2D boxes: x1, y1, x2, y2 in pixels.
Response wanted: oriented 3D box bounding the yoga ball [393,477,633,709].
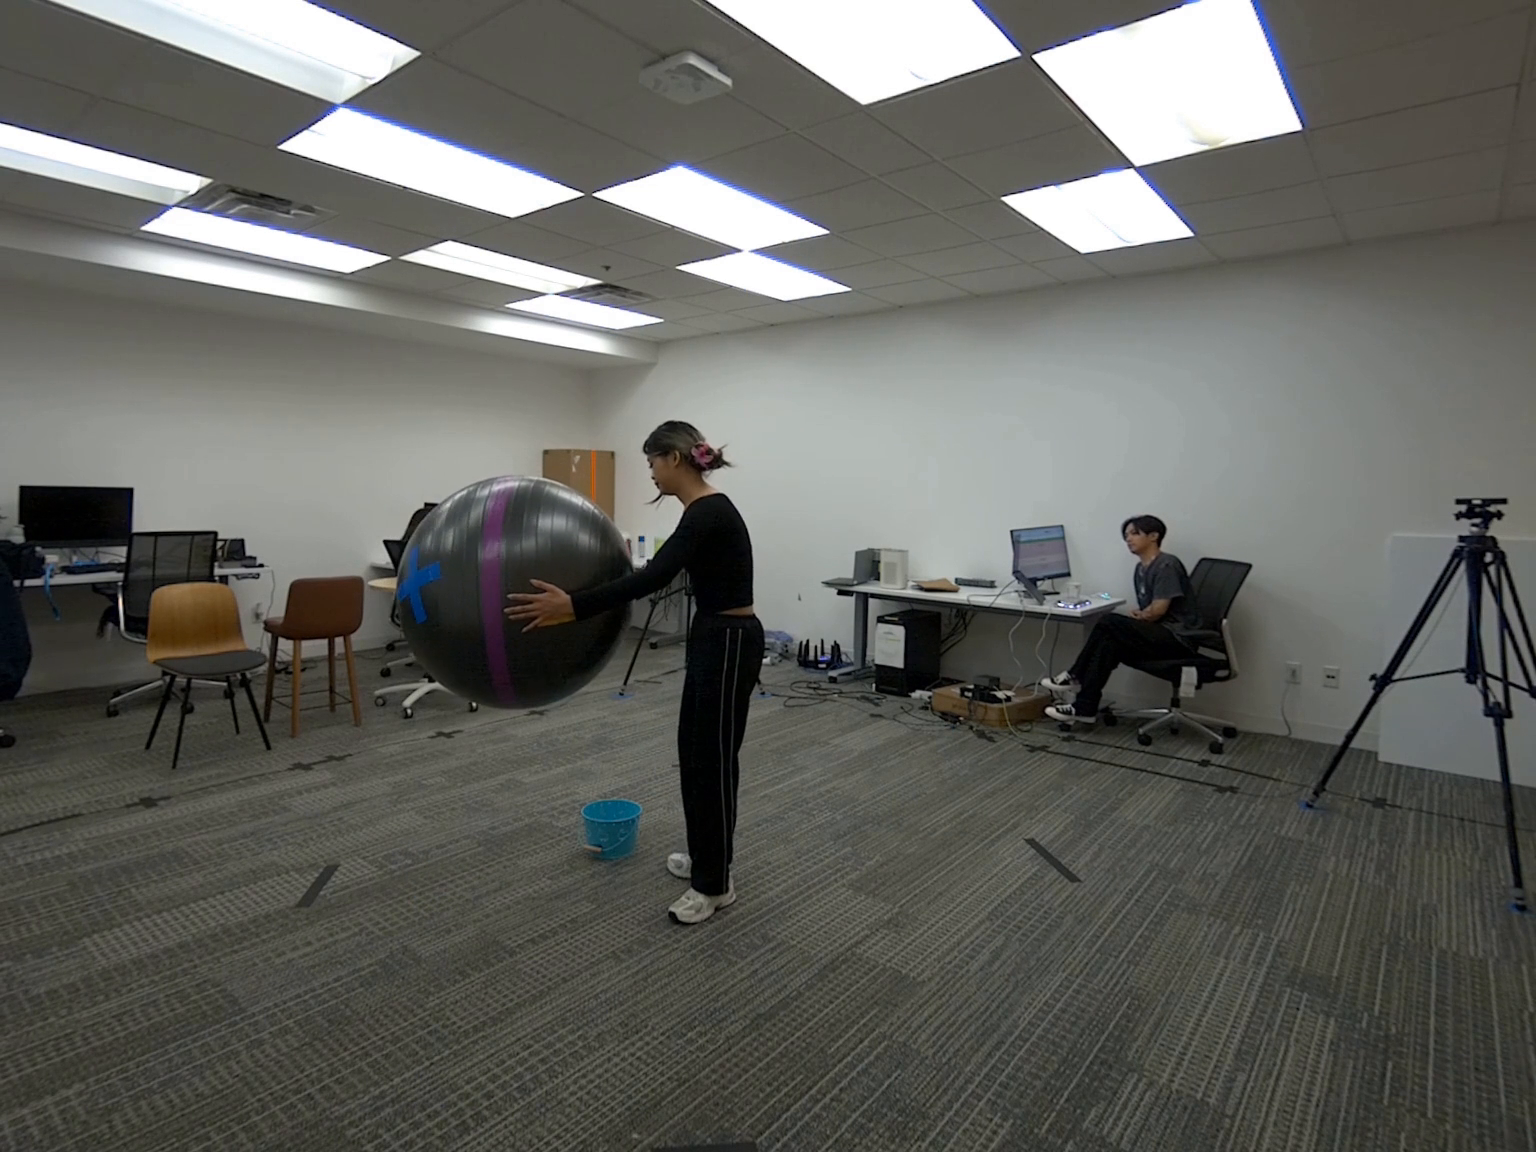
[{"bbox_3d":[-0.827,0.058,2.778,0.757,0.755,0.762,1,4,-2],"label":"yoga ball"}]
